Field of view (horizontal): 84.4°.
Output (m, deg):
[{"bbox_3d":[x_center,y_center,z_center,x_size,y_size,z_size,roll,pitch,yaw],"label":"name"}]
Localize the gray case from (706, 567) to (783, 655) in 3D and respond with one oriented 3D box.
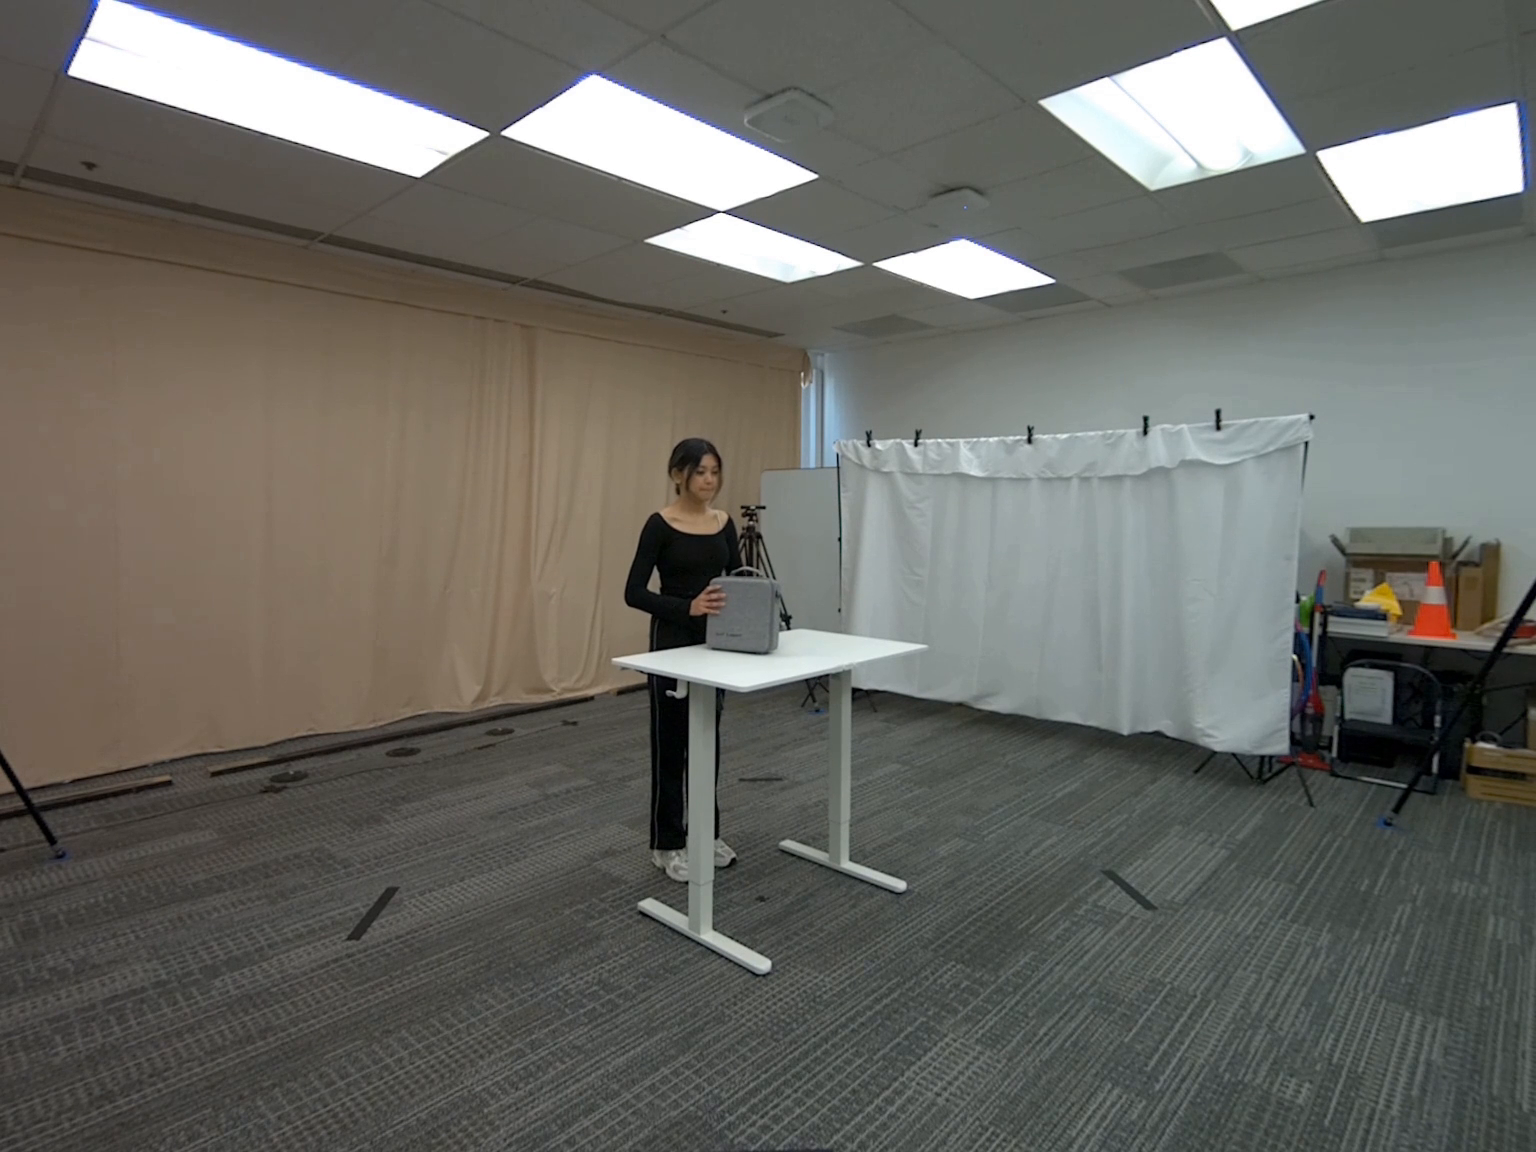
[{"bbox_3d":[-0.084,0.133,2.950,0.264,0.261,0.101,1,-4,29],"label":"gray case"}]
